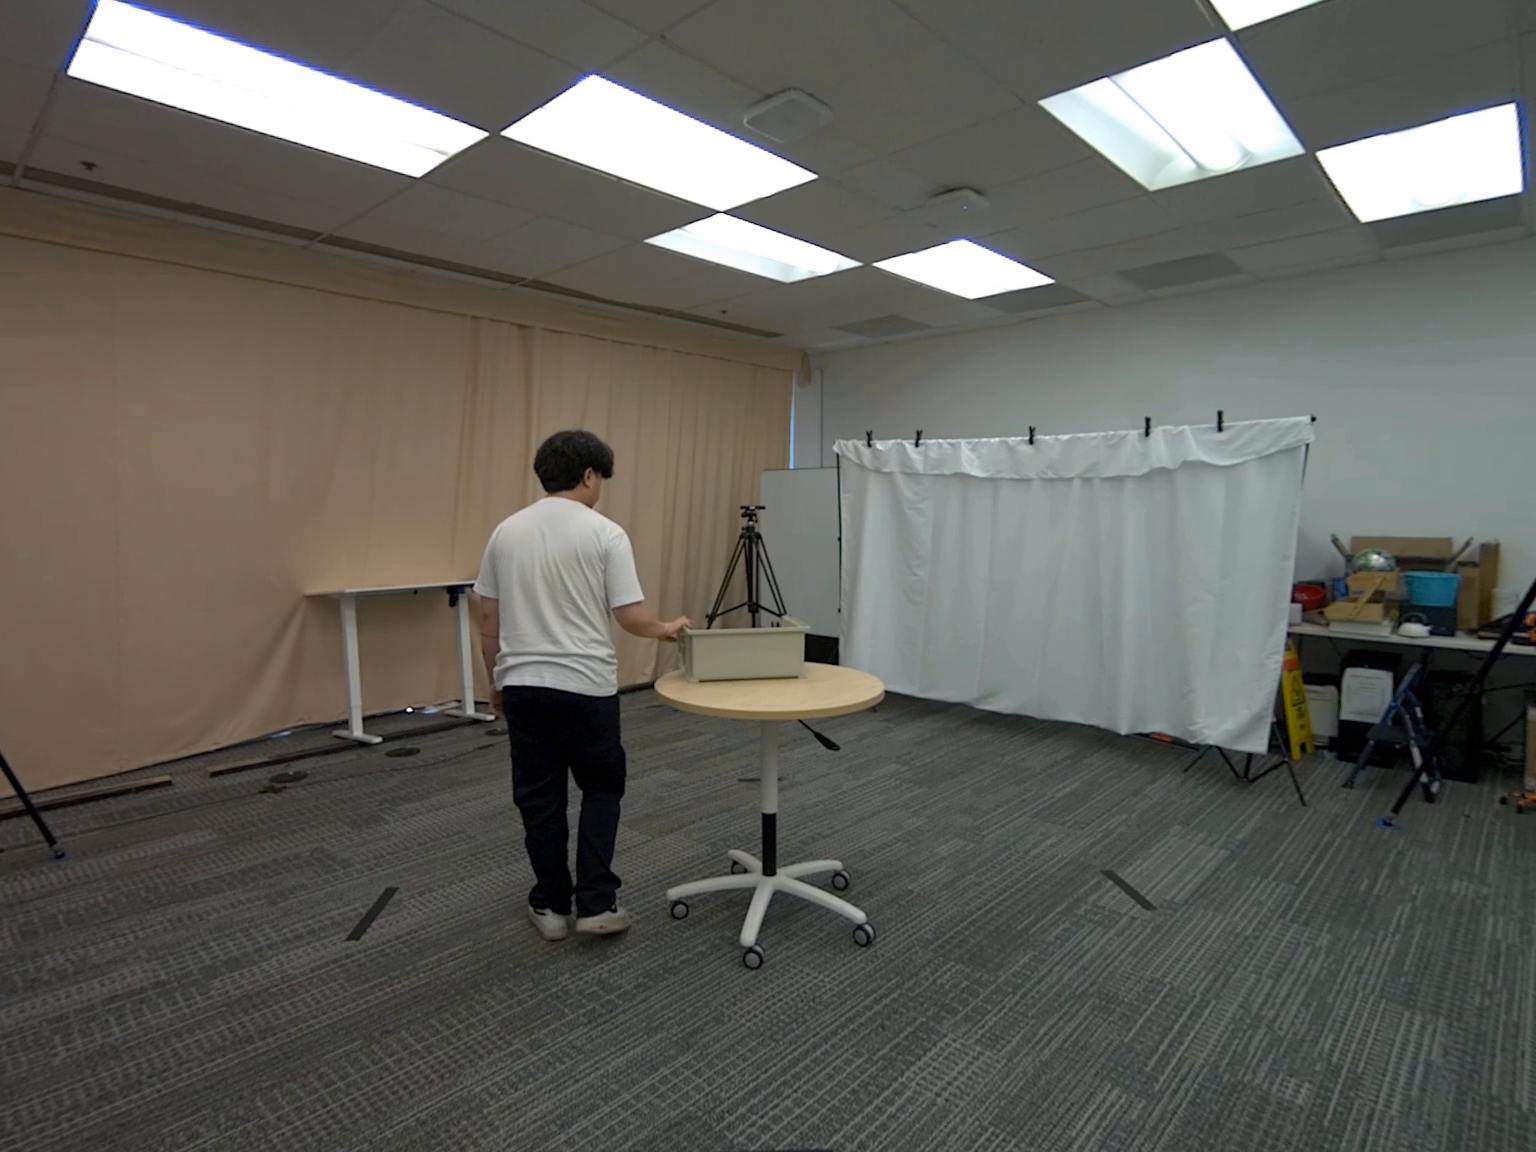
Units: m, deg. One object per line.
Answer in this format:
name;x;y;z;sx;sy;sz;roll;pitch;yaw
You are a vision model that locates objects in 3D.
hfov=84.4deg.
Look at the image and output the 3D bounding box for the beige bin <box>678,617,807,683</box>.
beige bin;-0.099;0.252;3.030;0.417;0.188;0.383;-1;6;-11
